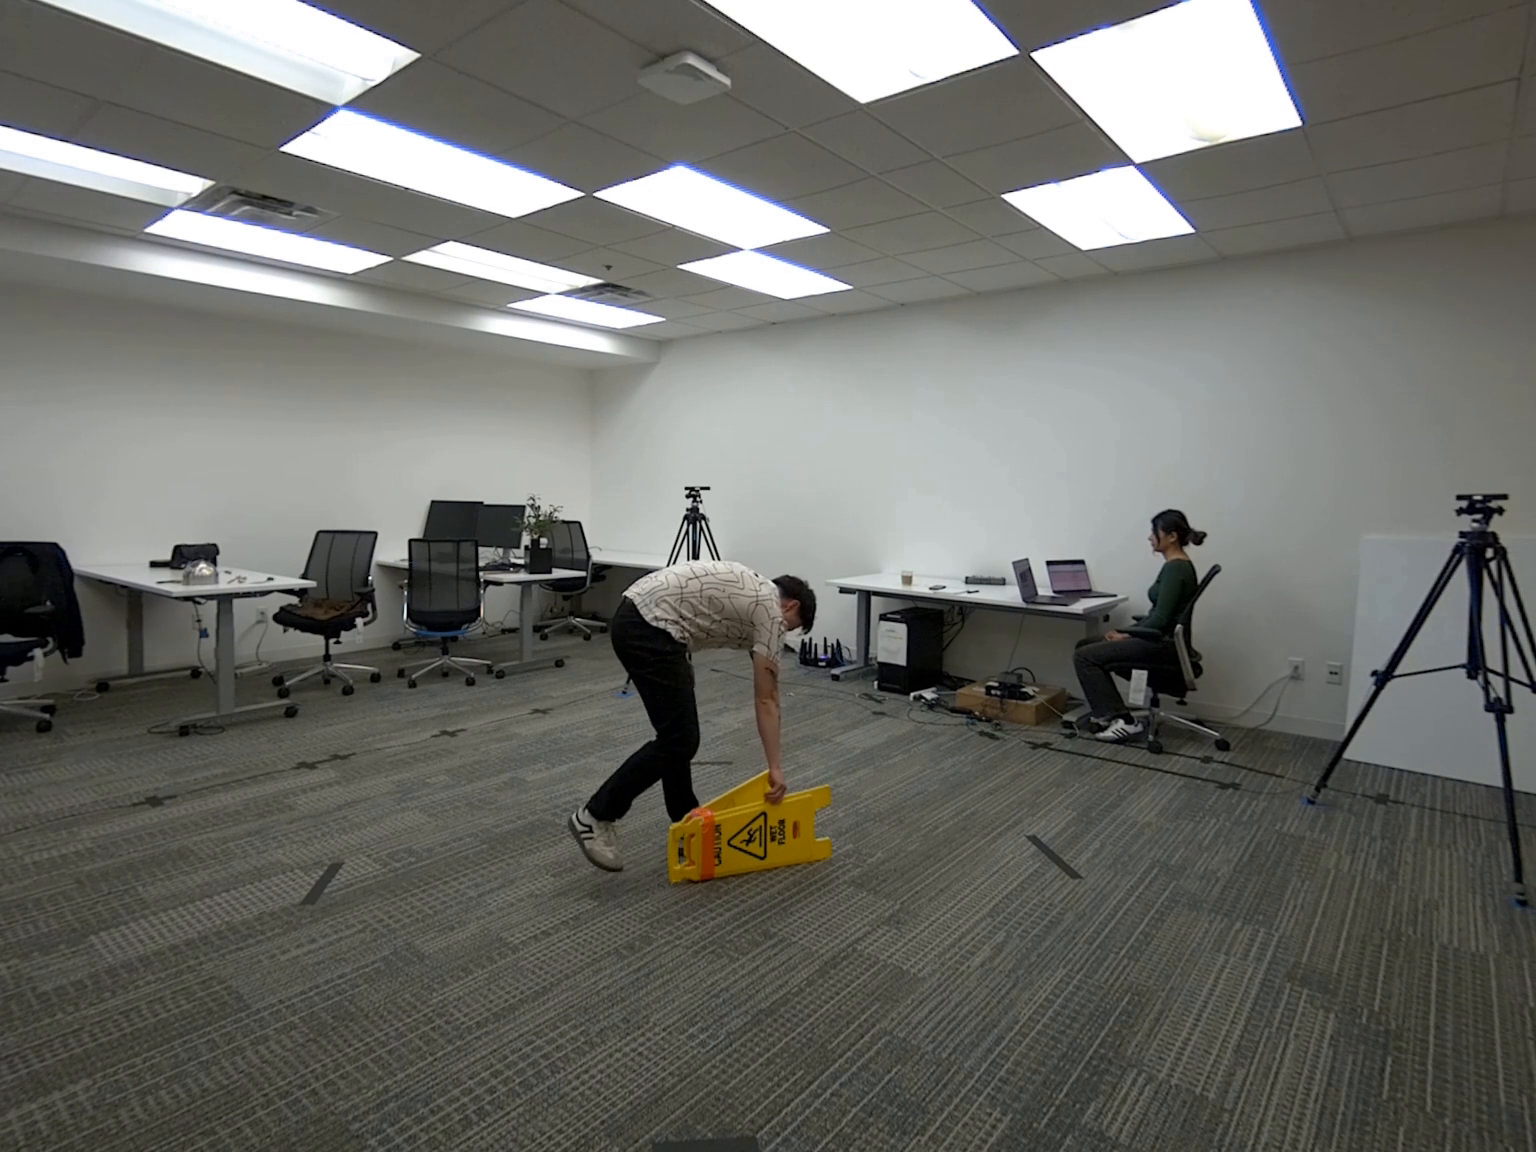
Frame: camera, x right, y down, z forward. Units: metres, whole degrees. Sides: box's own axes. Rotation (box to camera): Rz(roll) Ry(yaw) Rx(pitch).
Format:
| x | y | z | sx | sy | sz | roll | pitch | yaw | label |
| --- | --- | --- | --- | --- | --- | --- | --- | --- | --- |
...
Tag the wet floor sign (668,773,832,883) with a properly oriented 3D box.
| x | y | z | sx | sy | sz | roll | pitch | yaw | label |
| --- | --- | --- | --- | --- | --- | --- | --- | --- | --- |
| -0.106 | 0.937 | 3.131 | 0.628 | 0.281 | 0.299 | -6 | 7 | -39 | wet floor sign |
